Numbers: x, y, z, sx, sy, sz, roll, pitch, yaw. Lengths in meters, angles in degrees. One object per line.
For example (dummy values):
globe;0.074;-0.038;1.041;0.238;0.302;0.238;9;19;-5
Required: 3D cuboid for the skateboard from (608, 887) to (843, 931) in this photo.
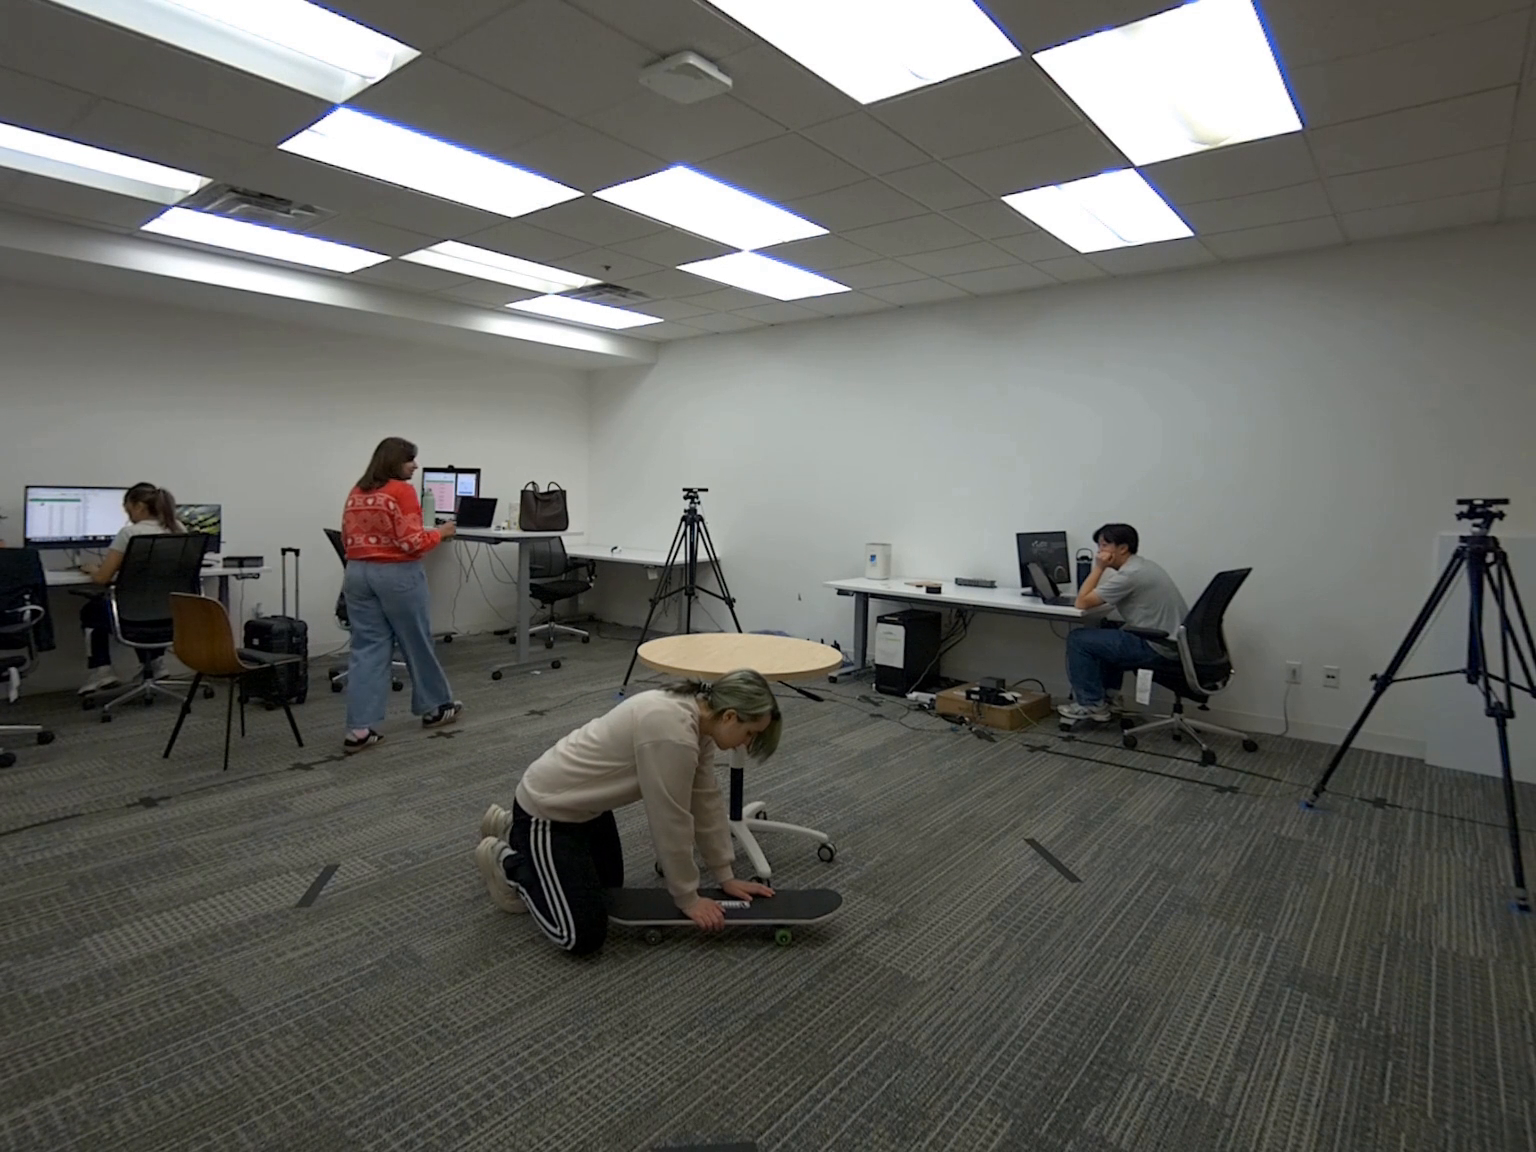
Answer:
skateboard;-0.162;1.063;2.667;0.783;0.110;0.195;1;6;-2
